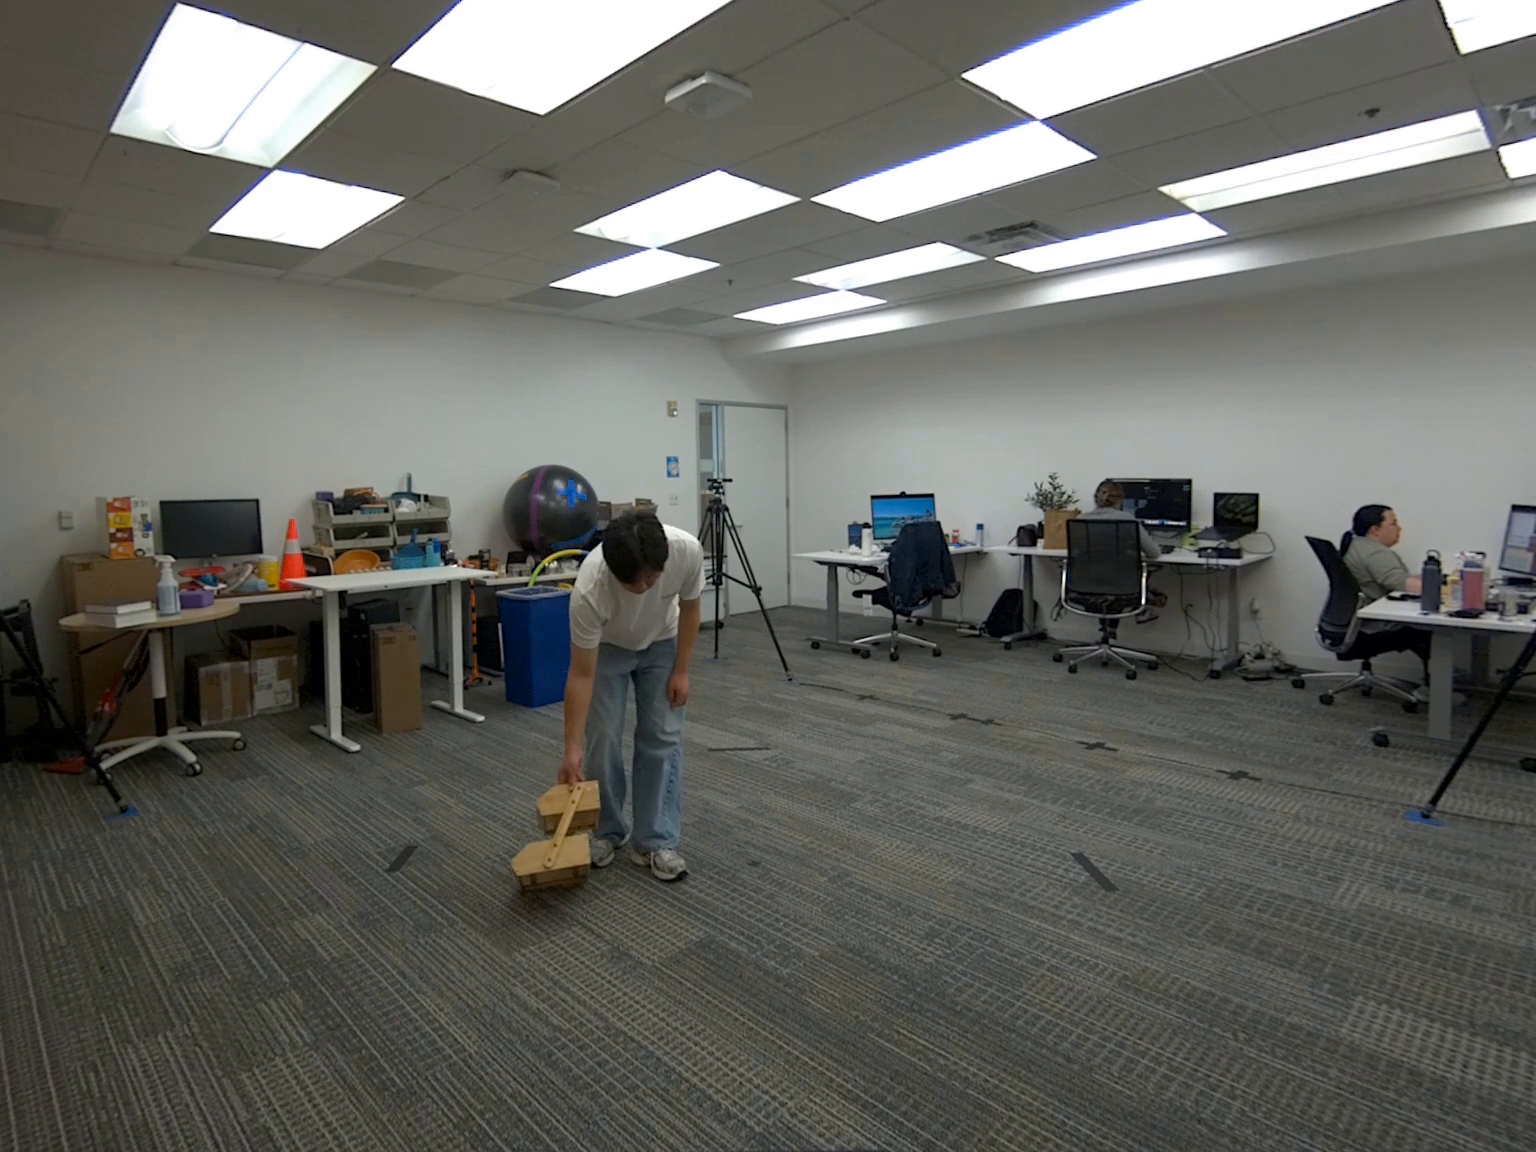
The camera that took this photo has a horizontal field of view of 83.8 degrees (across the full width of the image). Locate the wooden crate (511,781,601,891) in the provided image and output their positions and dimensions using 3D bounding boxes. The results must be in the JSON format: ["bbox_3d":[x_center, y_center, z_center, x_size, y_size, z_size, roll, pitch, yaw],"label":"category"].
[{"bbox_3d":[-0.719,0.889,2.890,0.298,0.281,0.320,-4,-28,-15],"label":"wooden crate"}]
